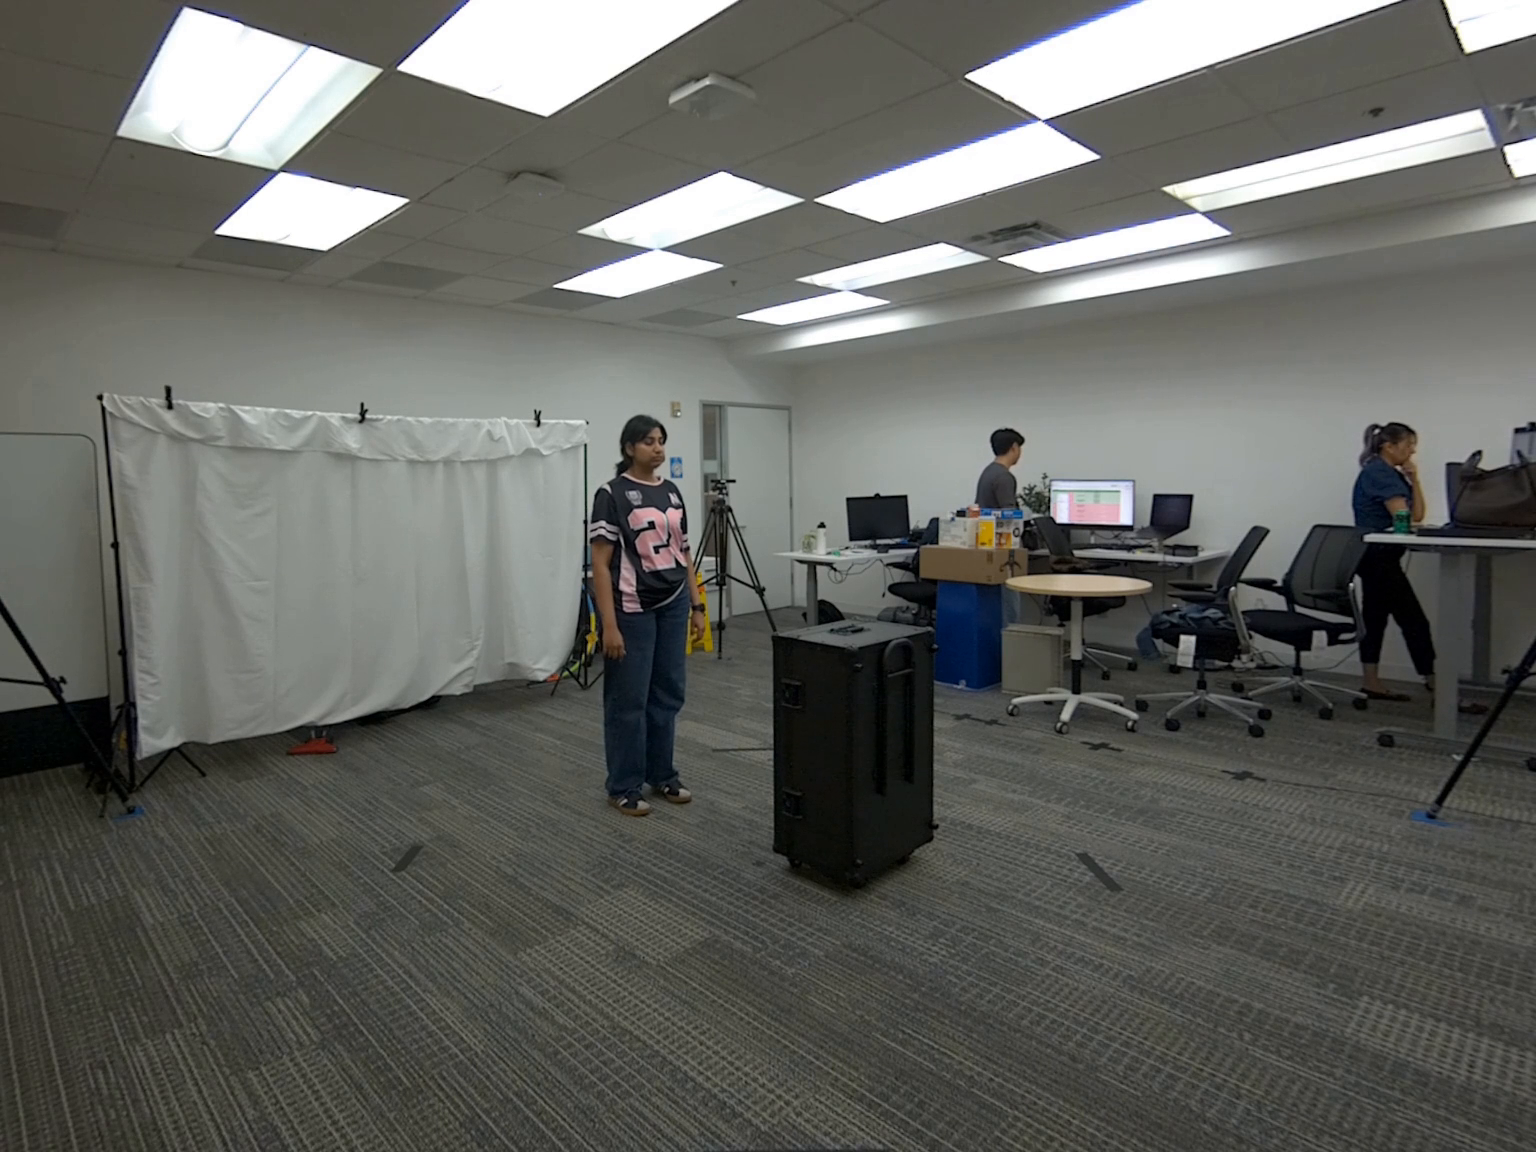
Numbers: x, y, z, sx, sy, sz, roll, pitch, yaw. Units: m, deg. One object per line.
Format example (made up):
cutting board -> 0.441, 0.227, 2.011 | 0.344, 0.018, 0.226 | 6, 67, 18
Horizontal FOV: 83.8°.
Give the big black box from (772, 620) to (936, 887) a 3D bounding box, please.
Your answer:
big black box -> 0.322, 0.625, 3.062 | 0.397, 0.865, 0.509 | 4, 6, 44
